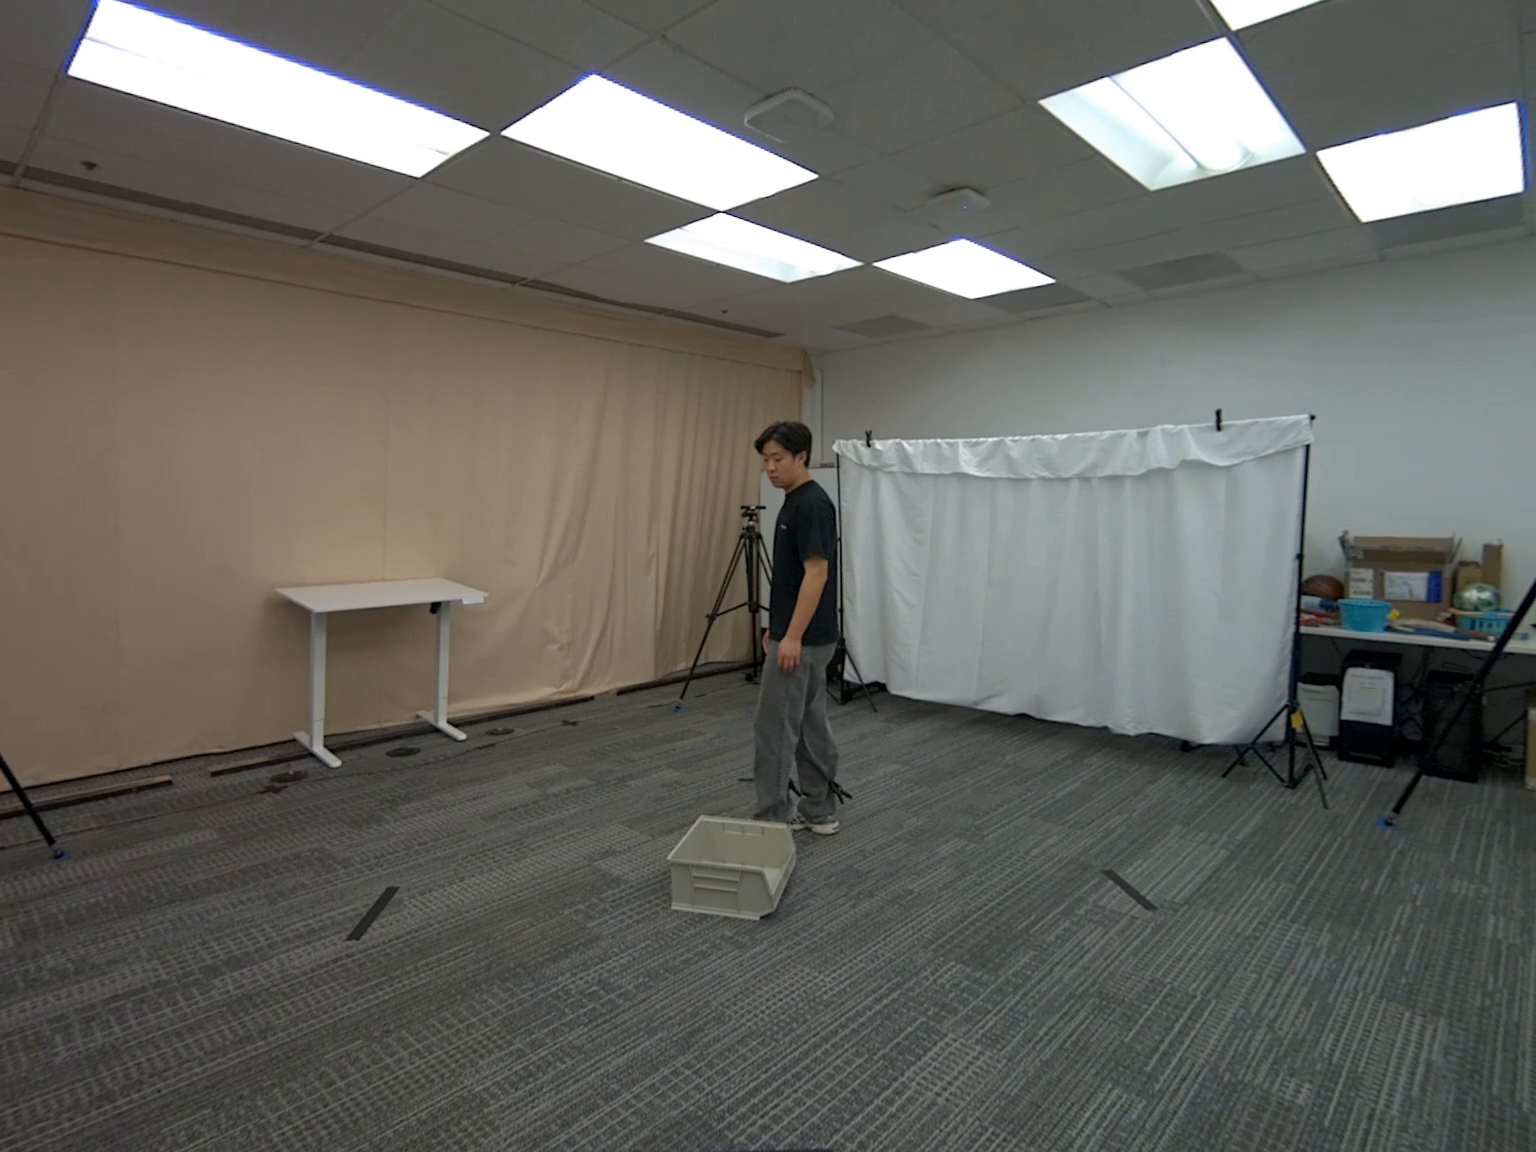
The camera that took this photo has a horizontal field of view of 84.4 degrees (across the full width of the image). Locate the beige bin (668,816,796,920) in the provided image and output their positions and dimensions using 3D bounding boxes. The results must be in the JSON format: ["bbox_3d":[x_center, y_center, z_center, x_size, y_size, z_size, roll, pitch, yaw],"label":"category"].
[{"bbox_3d":[-0.119,1.050,3.054,0.383,0.188,0.417,0,5,13],"label":"beige bin"}]
